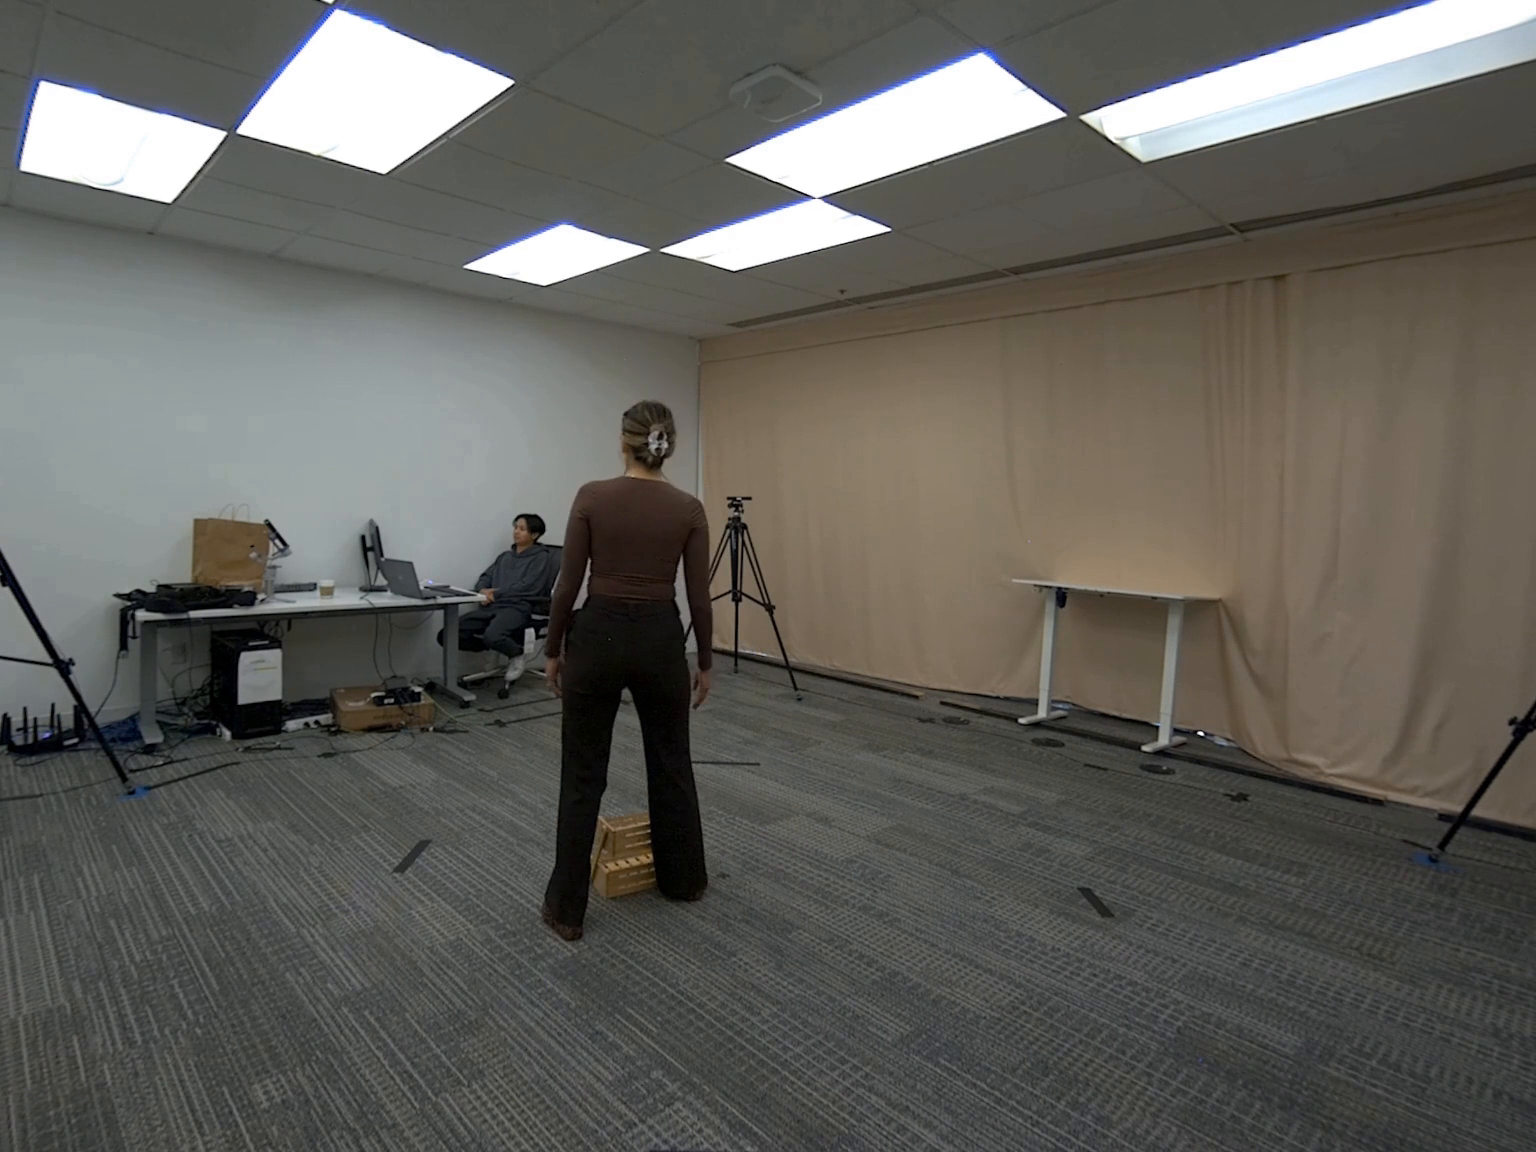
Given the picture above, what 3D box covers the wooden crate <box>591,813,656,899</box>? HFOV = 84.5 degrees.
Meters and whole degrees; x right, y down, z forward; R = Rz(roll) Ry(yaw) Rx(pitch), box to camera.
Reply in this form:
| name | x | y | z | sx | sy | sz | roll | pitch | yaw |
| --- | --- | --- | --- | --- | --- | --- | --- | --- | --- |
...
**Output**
| name | x | y | z | sx | sy | sz | roll | pitch | yaw |
| --- | --- | --- | --- | --- | --- | --- | --- | --- | --- |
| wooden crate | -0.499 | 0.972 | 3.062 | 0.318 | 0.272 | 0.309 | -2 | 6 | -33 |
